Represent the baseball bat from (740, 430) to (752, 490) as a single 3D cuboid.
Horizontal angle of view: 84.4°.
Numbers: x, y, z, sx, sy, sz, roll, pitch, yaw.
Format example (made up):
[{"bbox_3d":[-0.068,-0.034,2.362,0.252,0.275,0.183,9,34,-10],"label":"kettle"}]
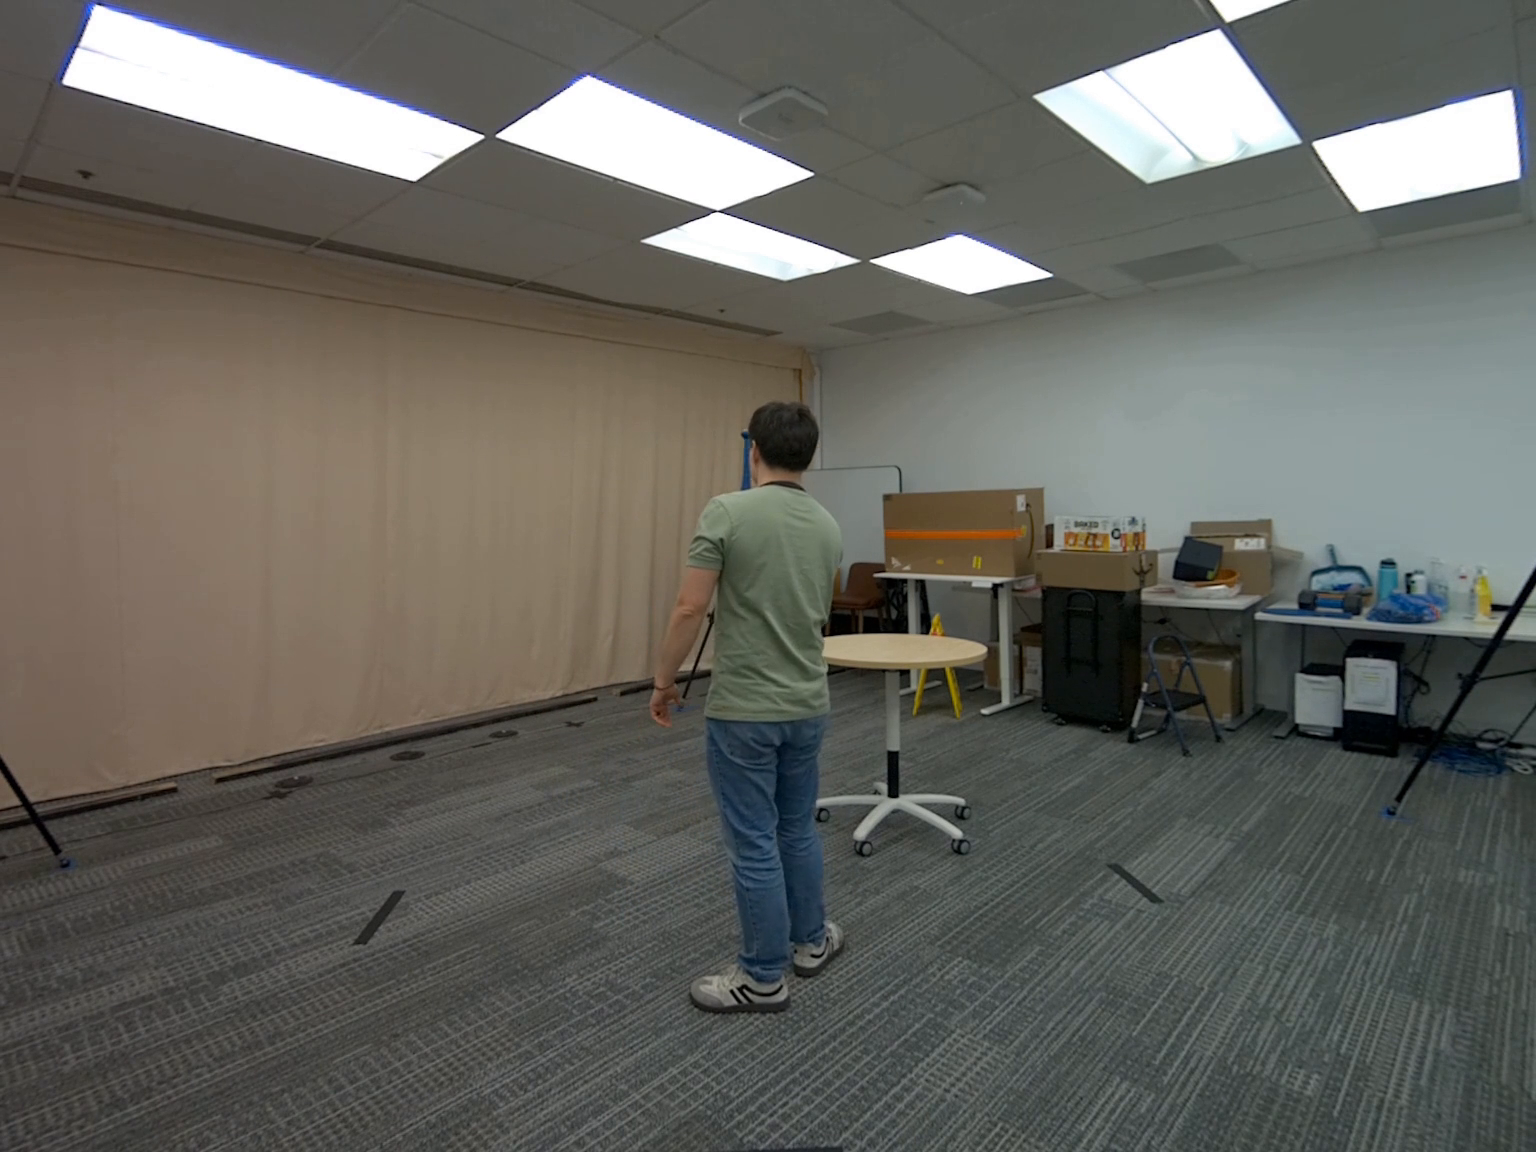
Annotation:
[{"bbox_3d":[-0.060,-0.218,2.830,0.089,0.542,0.089,3,2,-2],"label":"baseball bat"}]
